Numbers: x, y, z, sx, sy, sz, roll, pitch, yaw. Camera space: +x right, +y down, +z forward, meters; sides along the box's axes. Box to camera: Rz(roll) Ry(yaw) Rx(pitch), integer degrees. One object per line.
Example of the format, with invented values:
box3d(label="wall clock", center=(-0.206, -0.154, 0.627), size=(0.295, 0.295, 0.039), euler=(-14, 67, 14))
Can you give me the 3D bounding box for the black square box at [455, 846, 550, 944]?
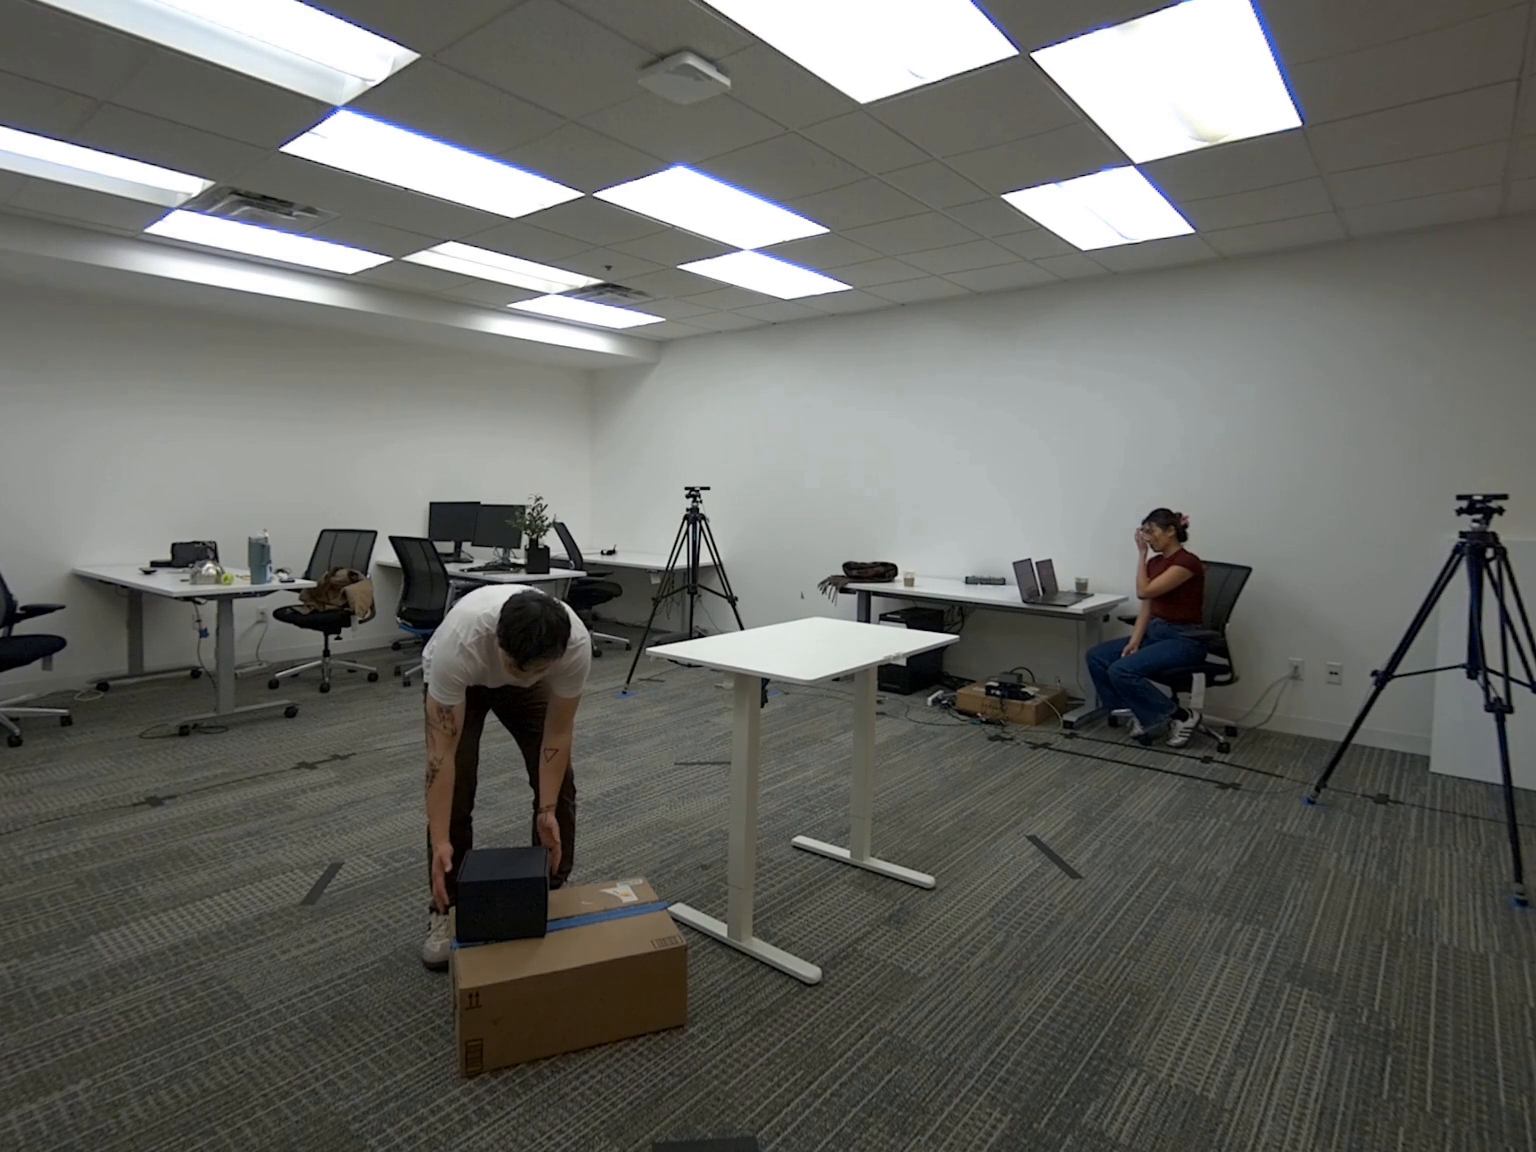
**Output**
box3d(label="black square box", center=(-0.715, 0.842, 2.286), size=(0.225, 0.155, 0.220), euler=(0, 4, -10))
